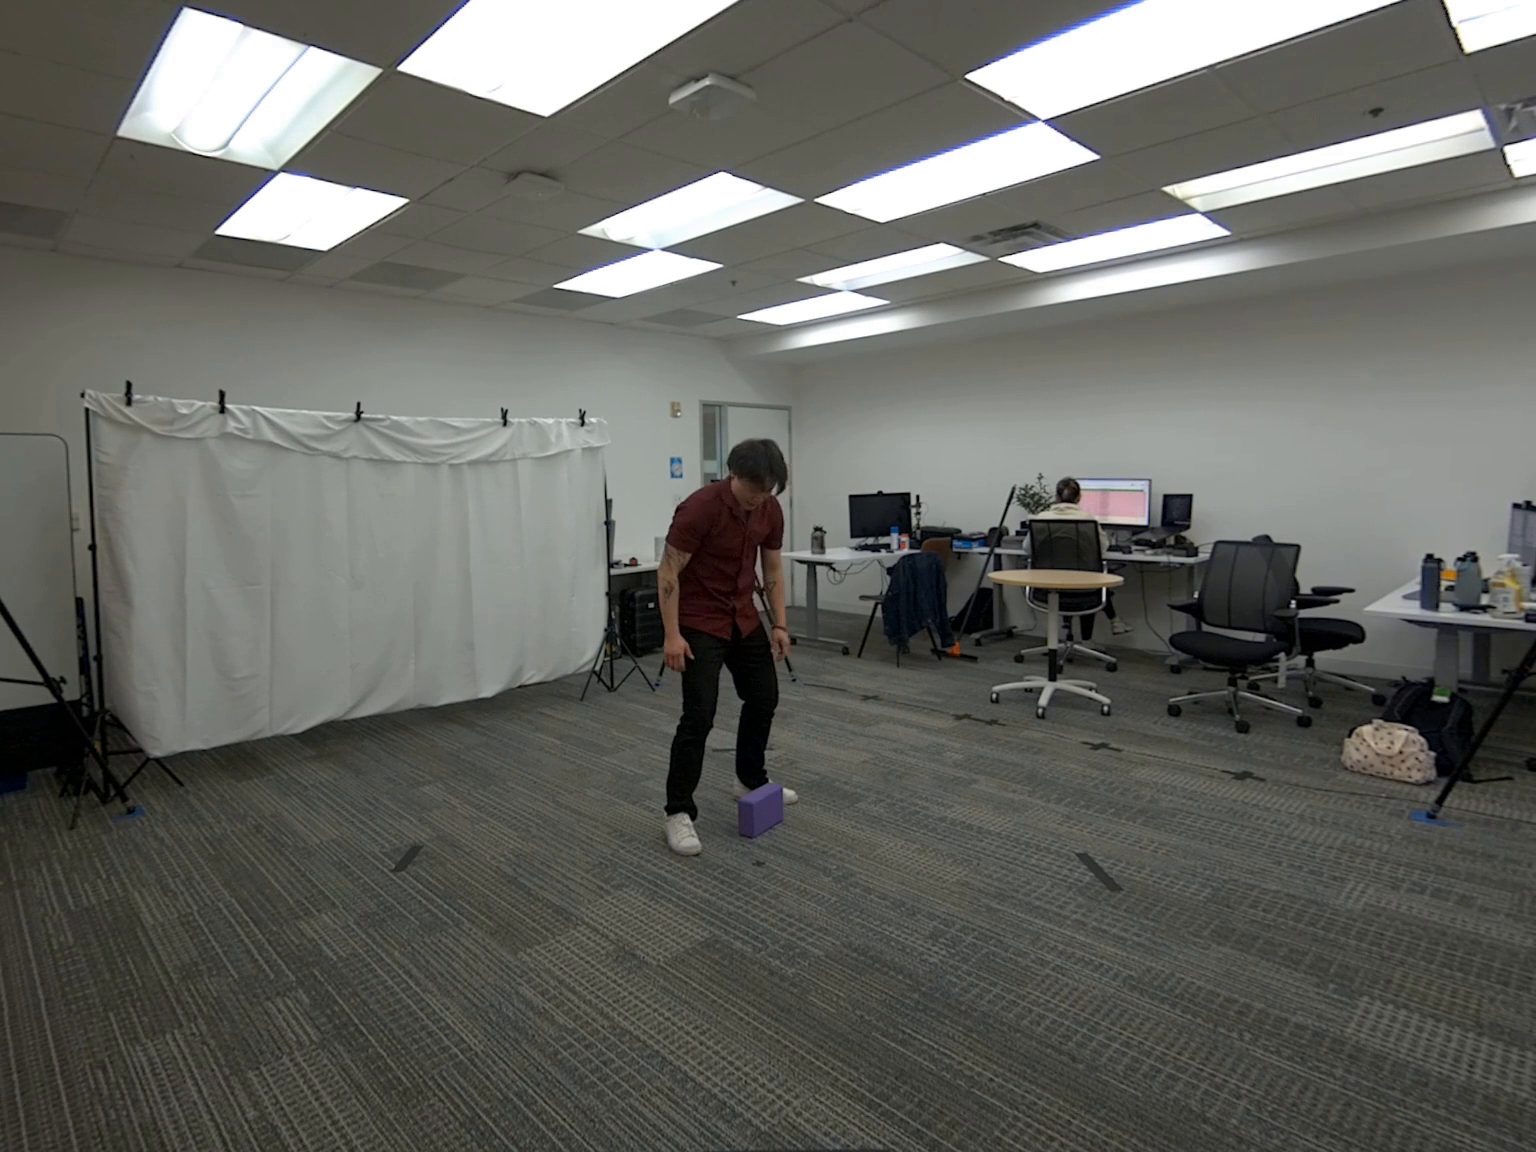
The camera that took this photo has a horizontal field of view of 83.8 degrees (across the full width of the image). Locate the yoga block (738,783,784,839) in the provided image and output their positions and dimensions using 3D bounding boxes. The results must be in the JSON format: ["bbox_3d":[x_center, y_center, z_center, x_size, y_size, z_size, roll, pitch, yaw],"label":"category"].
[{"bbox_3d":[-0.032,0.937,3.429,0.078,0.148,0.224,1,6,33],"label":"yoga block"}]
